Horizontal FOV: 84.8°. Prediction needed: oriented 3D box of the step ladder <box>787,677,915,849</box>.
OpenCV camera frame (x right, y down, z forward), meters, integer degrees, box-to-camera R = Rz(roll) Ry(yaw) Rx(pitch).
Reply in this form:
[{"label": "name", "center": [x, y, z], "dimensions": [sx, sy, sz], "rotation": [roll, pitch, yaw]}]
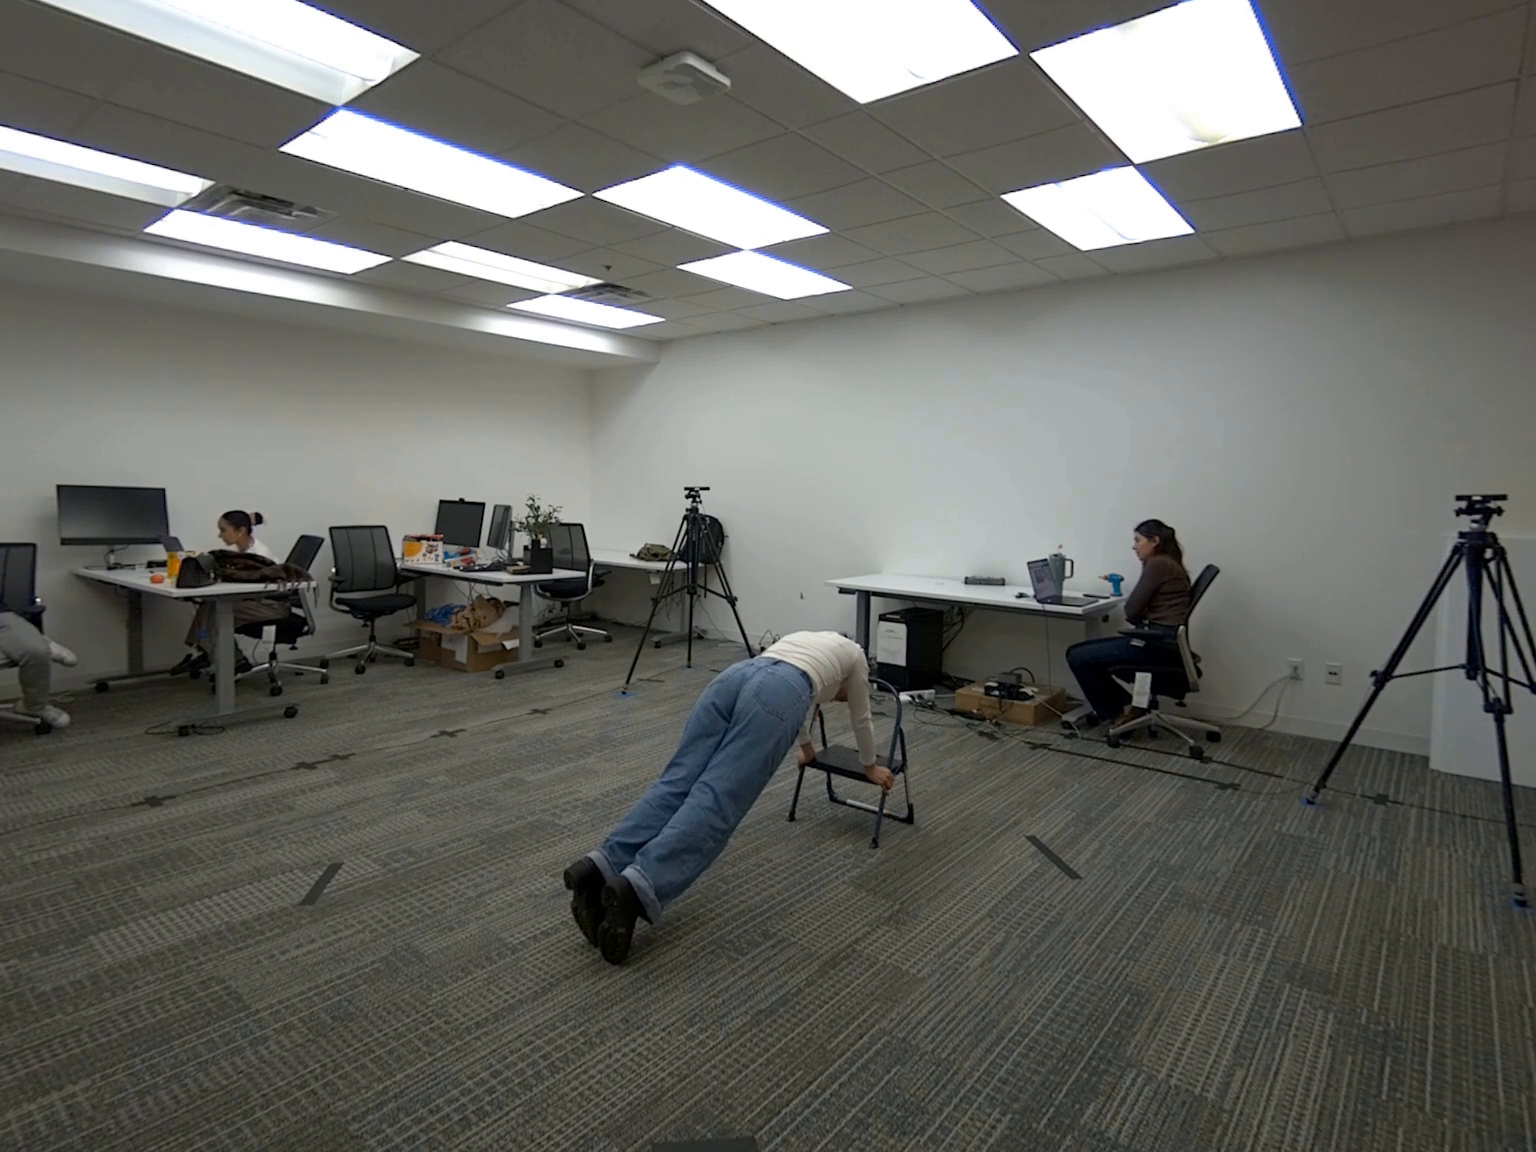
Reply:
[{"label": "step ladder", "center": [0.351, 0.728, 3.561], "dimensions": [0.445, 0.604, 0.339], "rotation": [4, 4, 38]}]
